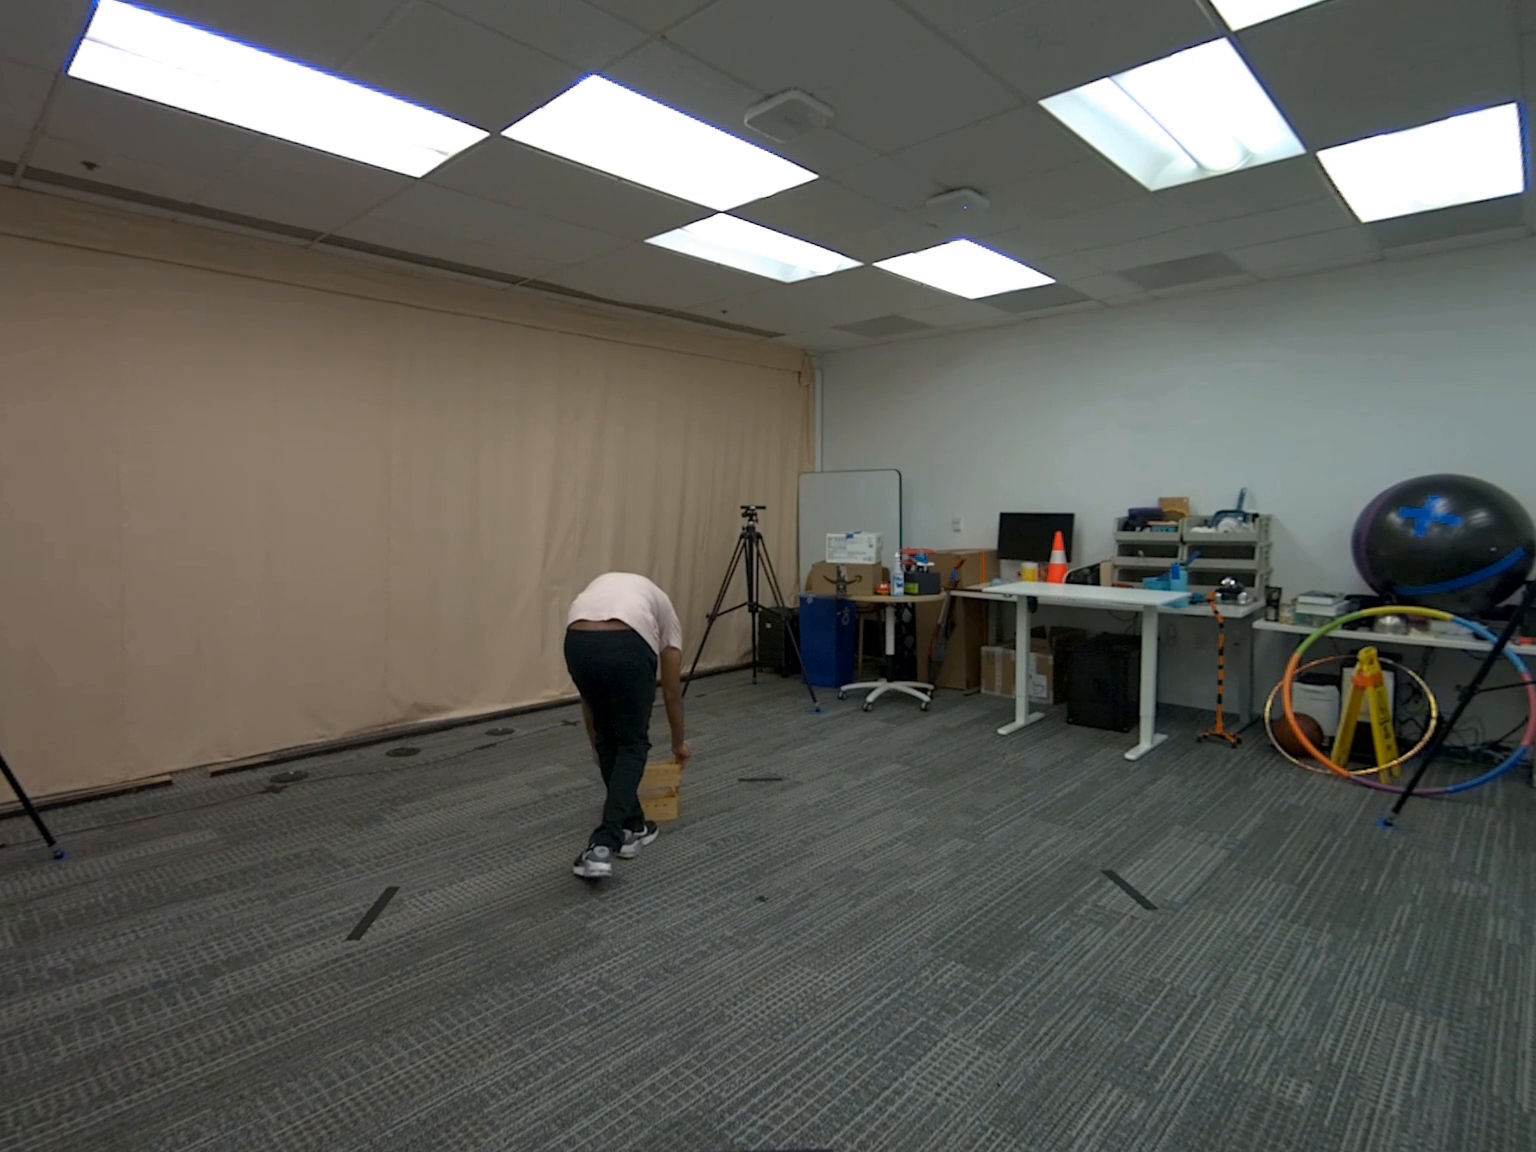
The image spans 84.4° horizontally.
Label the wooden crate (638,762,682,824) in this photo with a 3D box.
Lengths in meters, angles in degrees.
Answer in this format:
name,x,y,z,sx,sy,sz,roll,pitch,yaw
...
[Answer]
name,x,y,z,sx,sy,sz,roll,pitch,yaw
wooden crate,-0.567,0.950,3.823,0.320,0.273,0.307,-1,4,-13
